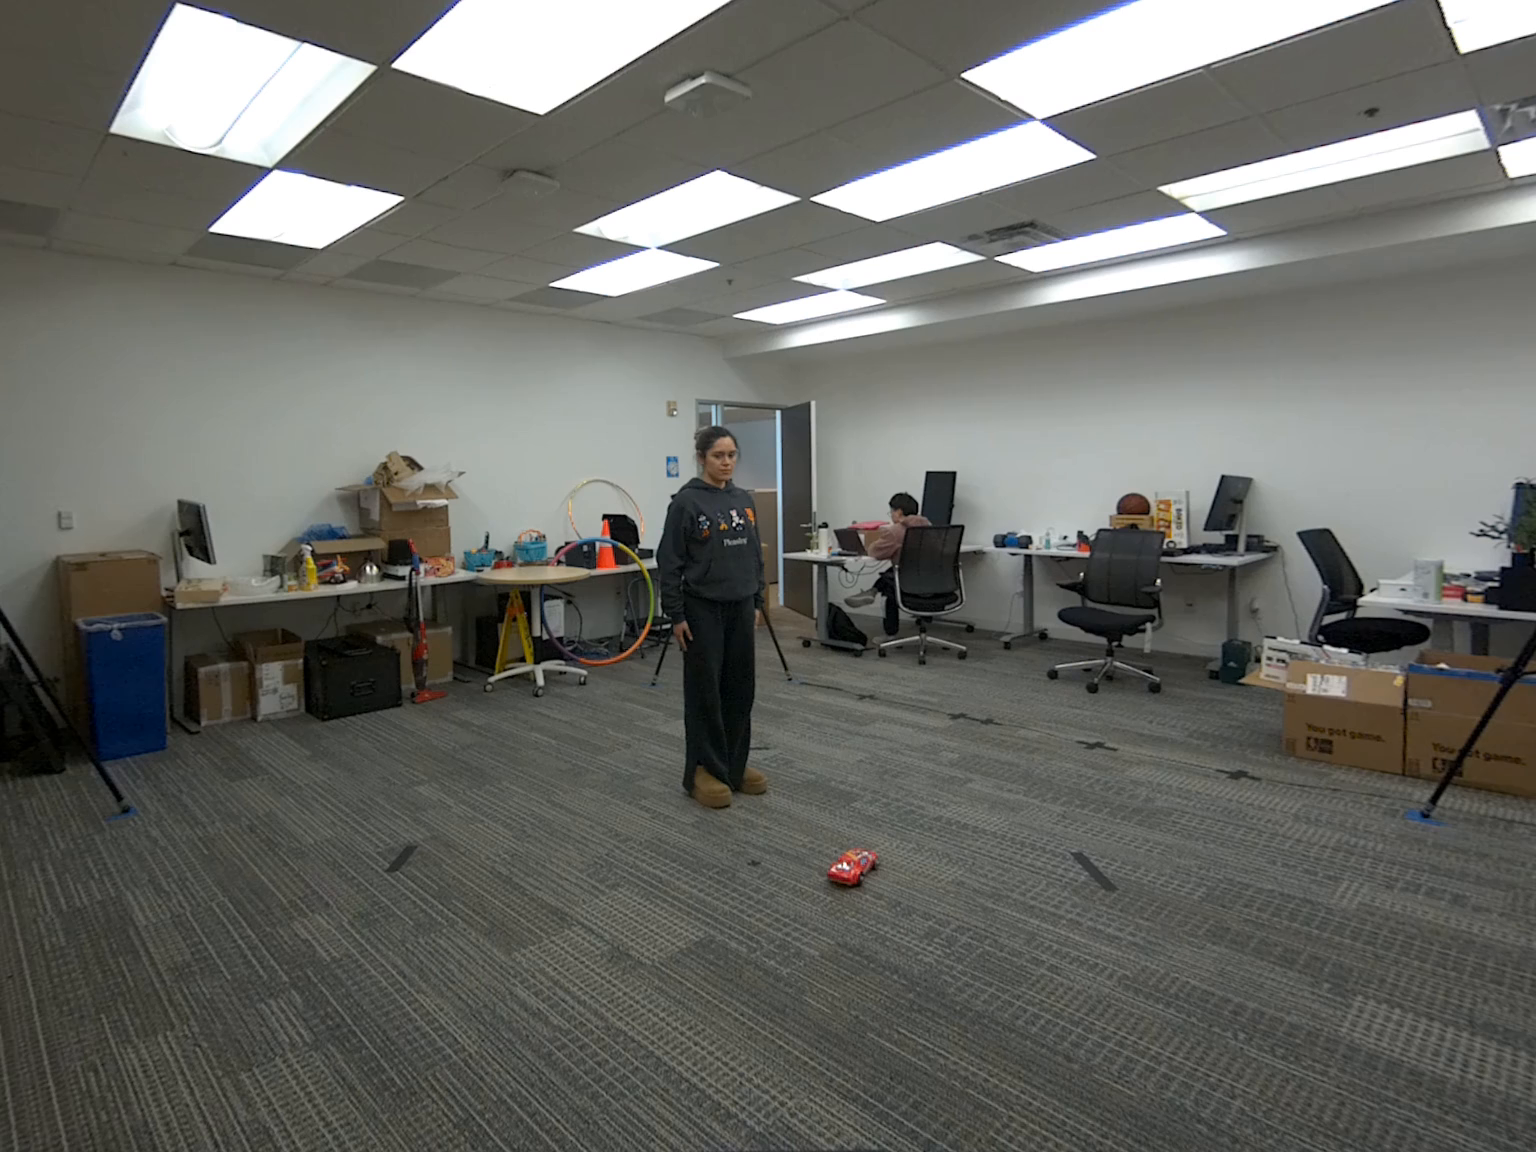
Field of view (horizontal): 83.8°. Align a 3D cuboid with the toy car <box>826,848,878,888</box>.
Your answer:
[{"bbox_3d":[0.297,1.022,2.978,0.134,0.083,0.247,4,-3,31],"label":"toy car"}]
